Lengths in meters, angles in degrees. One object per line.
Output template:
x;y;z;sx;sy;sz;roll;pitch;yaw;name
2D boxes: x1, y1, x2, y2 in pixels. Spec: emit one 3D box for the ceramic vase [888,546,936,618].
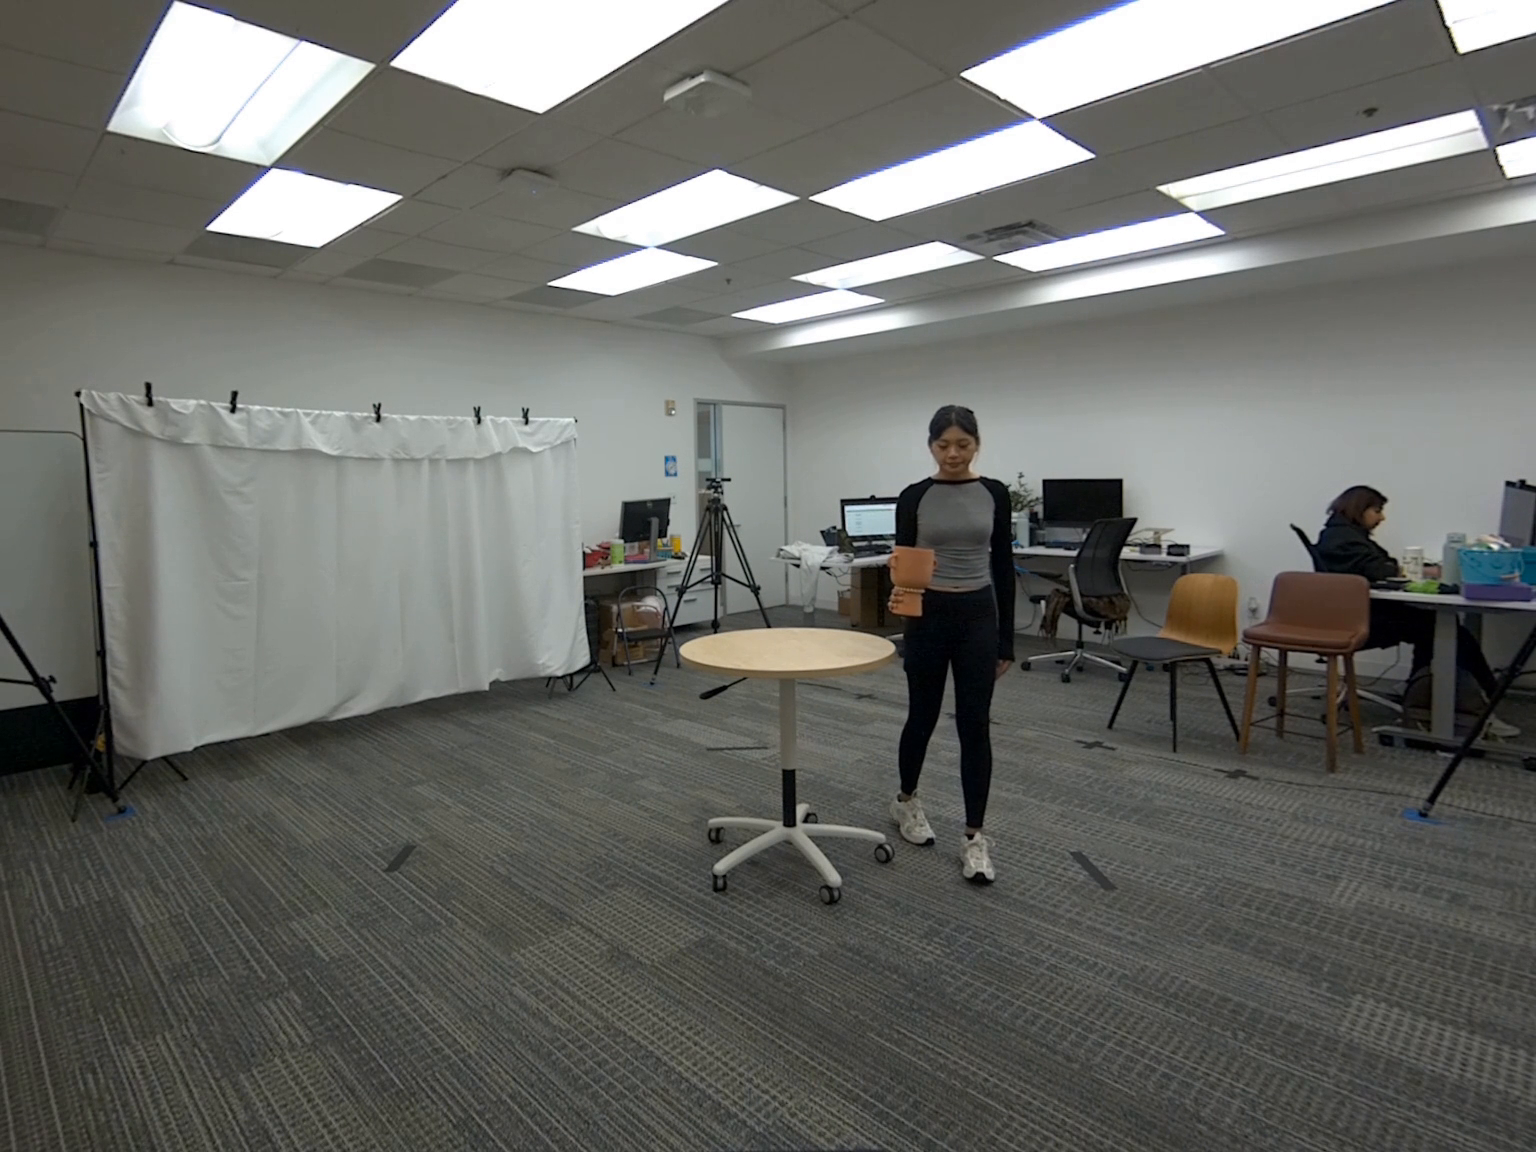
0.479;0.017;2.843;0.161;0.219;0.133;7;3;13;ceramic vase
